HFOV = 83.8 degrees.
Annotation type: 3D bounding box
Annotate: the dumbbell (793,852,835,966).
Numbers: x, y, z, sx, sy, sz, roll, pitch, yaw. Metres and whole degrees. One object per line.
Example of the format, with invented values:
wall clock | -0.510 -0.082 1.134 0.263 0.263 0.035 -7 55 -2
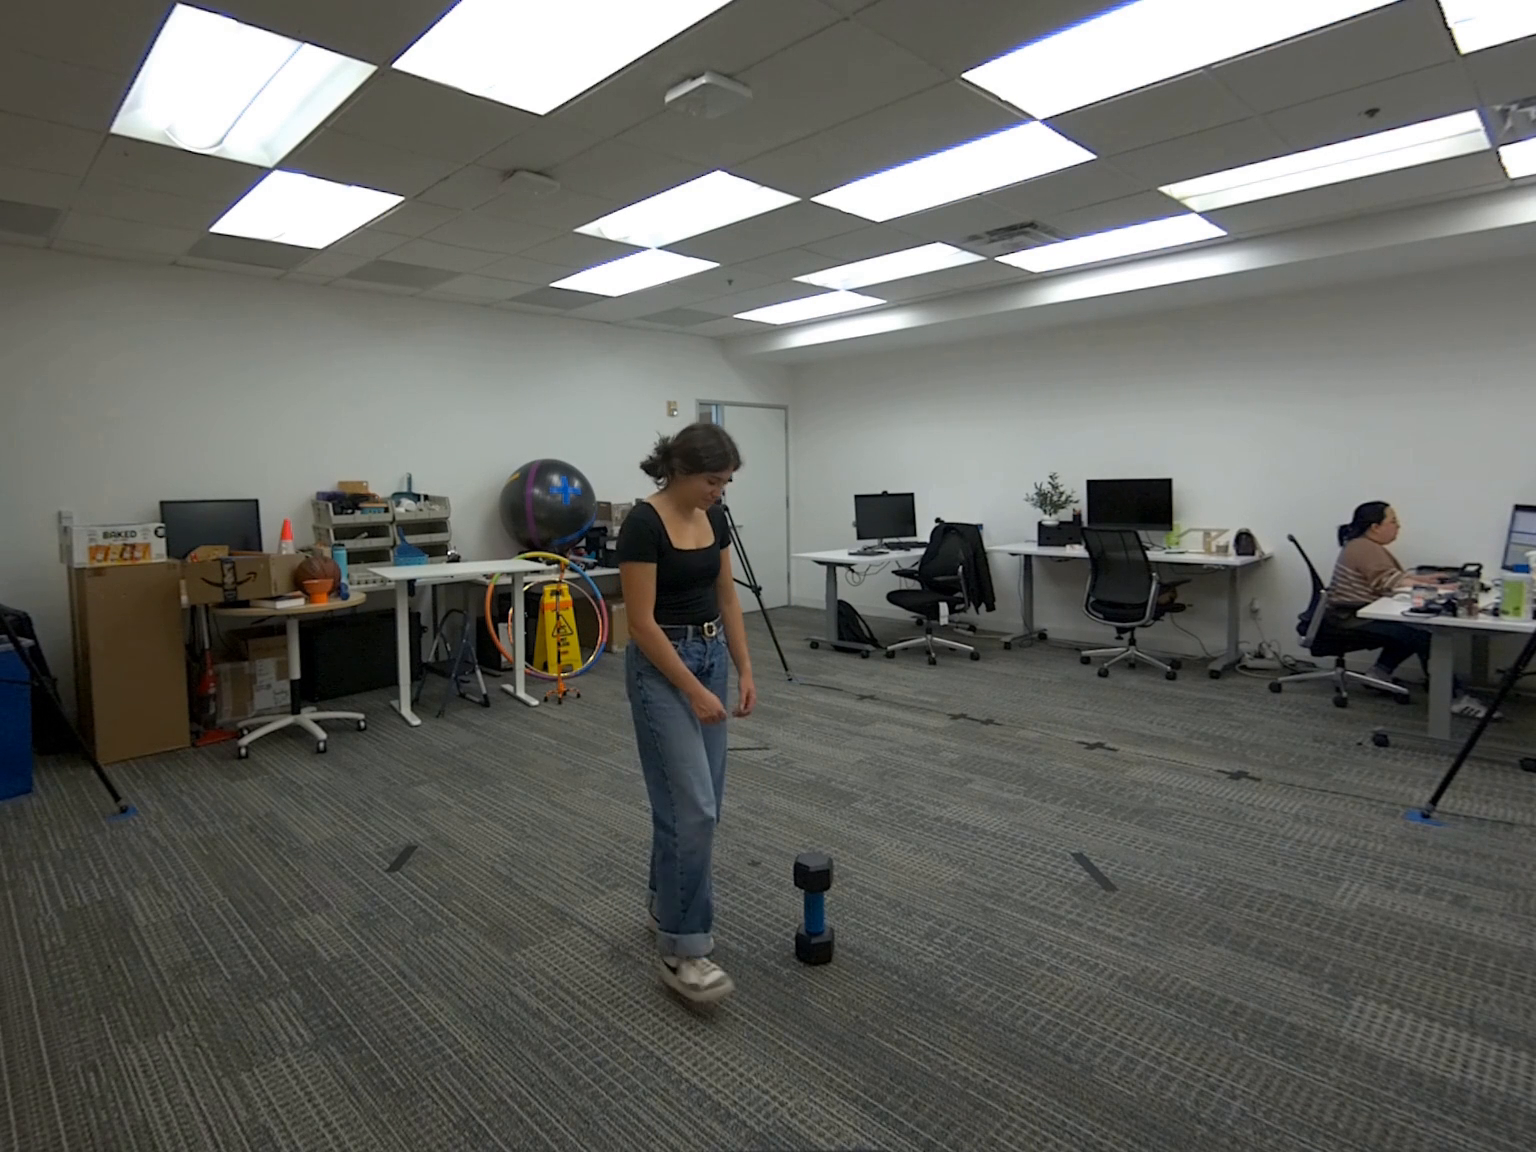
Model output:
dumbbell | 0.136 0.964 2.492 0.121 0.293 0.110 -2 3 -13
